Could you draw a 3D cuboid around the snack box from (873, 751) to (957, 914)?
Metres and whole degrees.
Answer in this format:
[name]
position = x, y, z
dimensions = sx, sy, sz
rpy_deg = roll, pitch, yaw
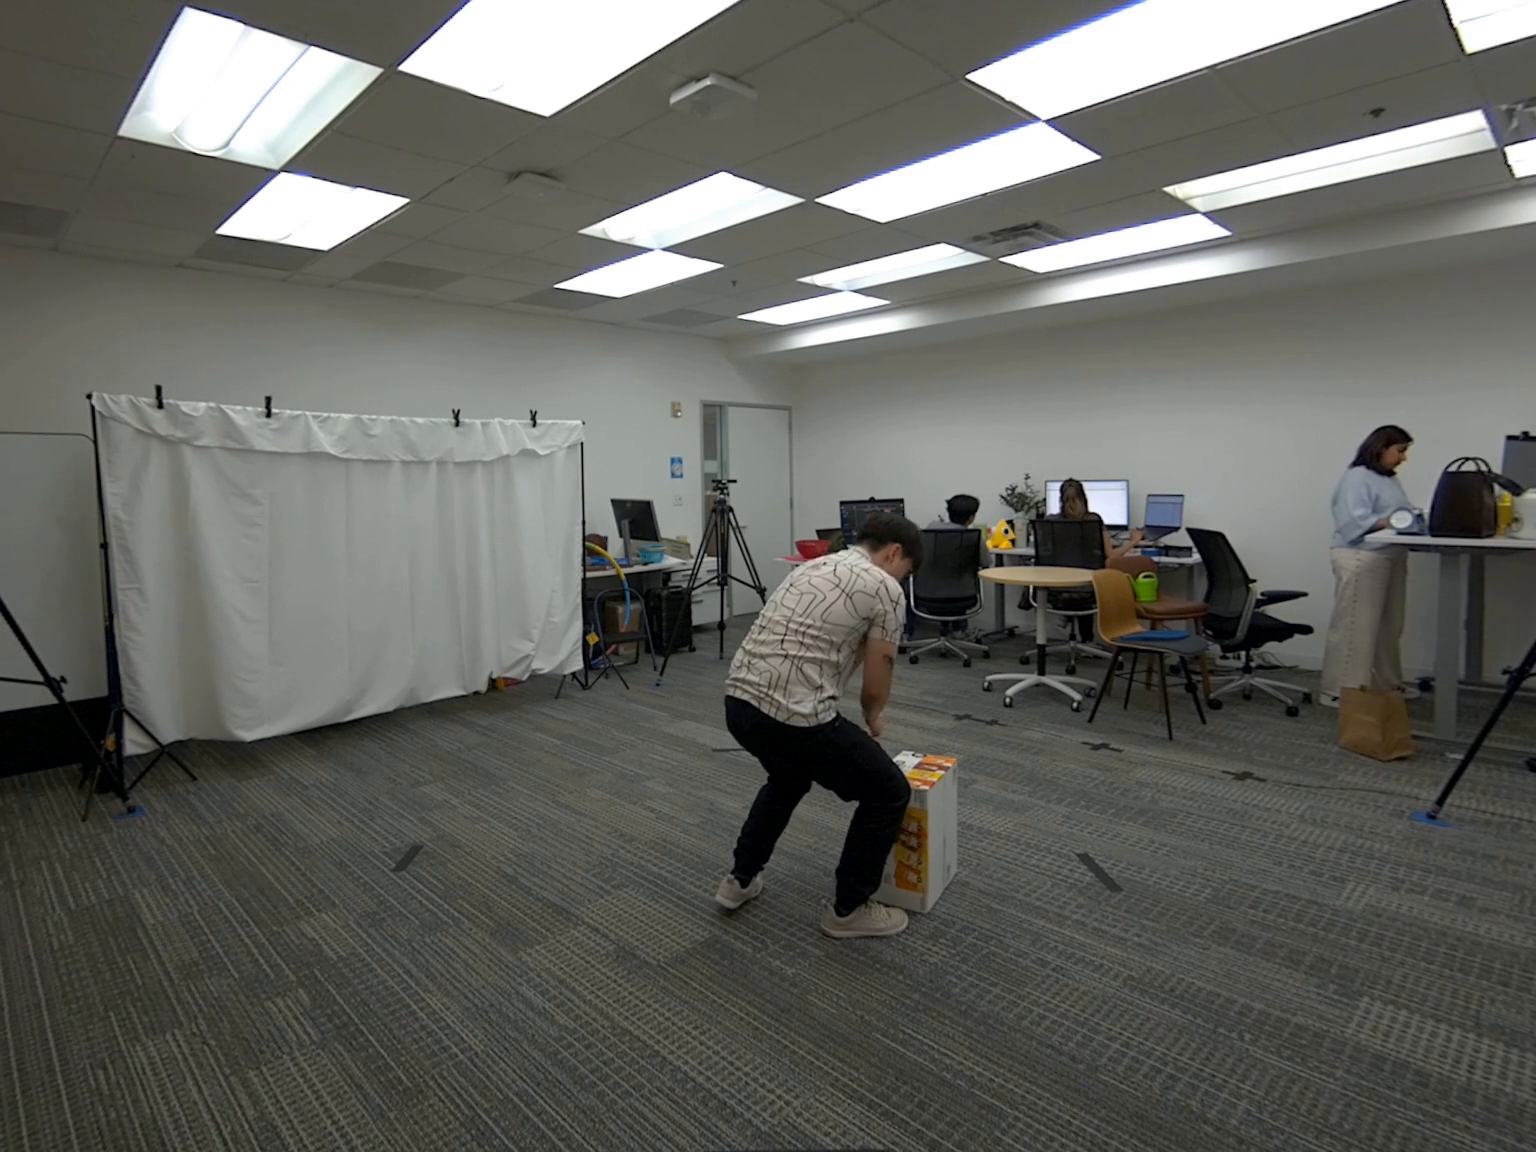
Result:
[snack box]
position = 0.503, 0.856, 2.910
dimensions = 0.211, 0.404, 0.333
rpy_deg = 1, 5, 29
